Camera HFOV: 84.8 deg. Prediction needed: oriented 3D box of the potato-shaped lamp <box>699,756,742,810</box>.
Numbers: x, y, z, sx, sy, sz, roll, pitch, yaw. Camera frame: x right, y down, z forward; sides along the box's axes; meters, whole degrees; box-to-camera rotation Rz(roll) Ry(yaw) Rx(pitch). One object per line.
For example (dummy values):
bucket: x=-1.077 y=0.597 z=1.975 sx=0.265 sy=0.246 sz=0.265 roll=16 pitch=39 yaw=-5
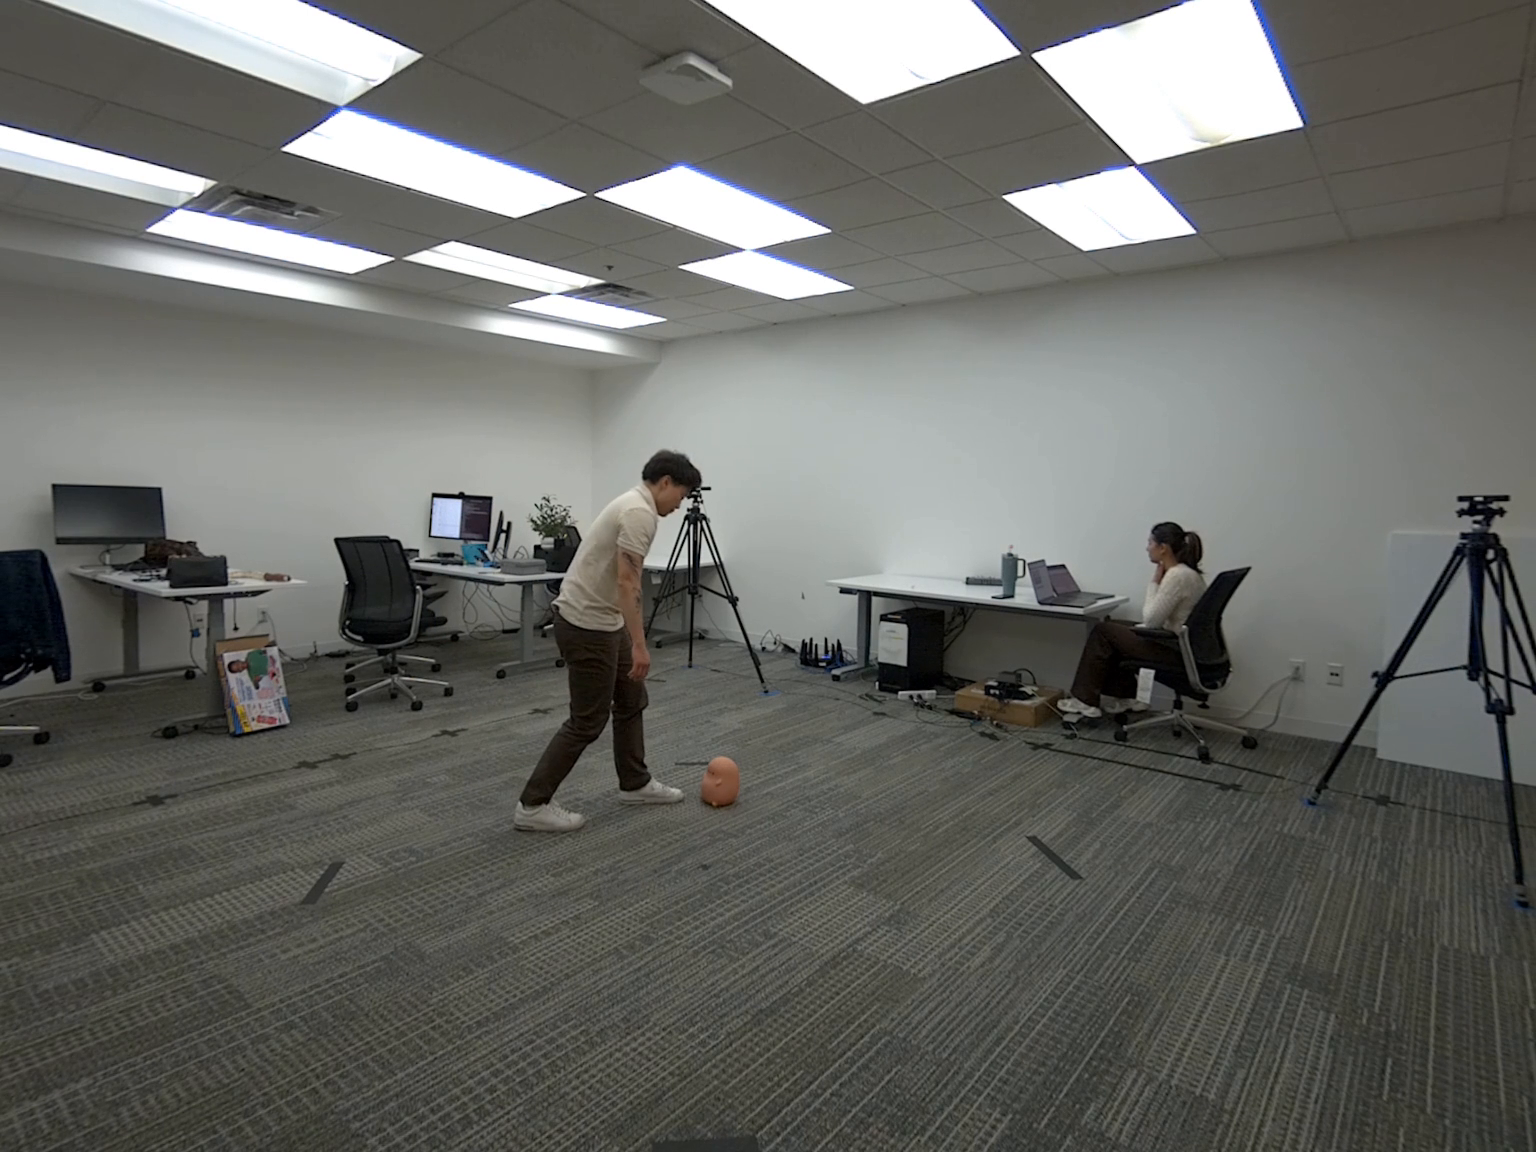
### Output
potato-shaped lamp: x=-0.217 y=0.903 z=3.774 sx=0.167 sy=0.198 sz=0.169 roll=-2 pitch=3 yaw=-28
